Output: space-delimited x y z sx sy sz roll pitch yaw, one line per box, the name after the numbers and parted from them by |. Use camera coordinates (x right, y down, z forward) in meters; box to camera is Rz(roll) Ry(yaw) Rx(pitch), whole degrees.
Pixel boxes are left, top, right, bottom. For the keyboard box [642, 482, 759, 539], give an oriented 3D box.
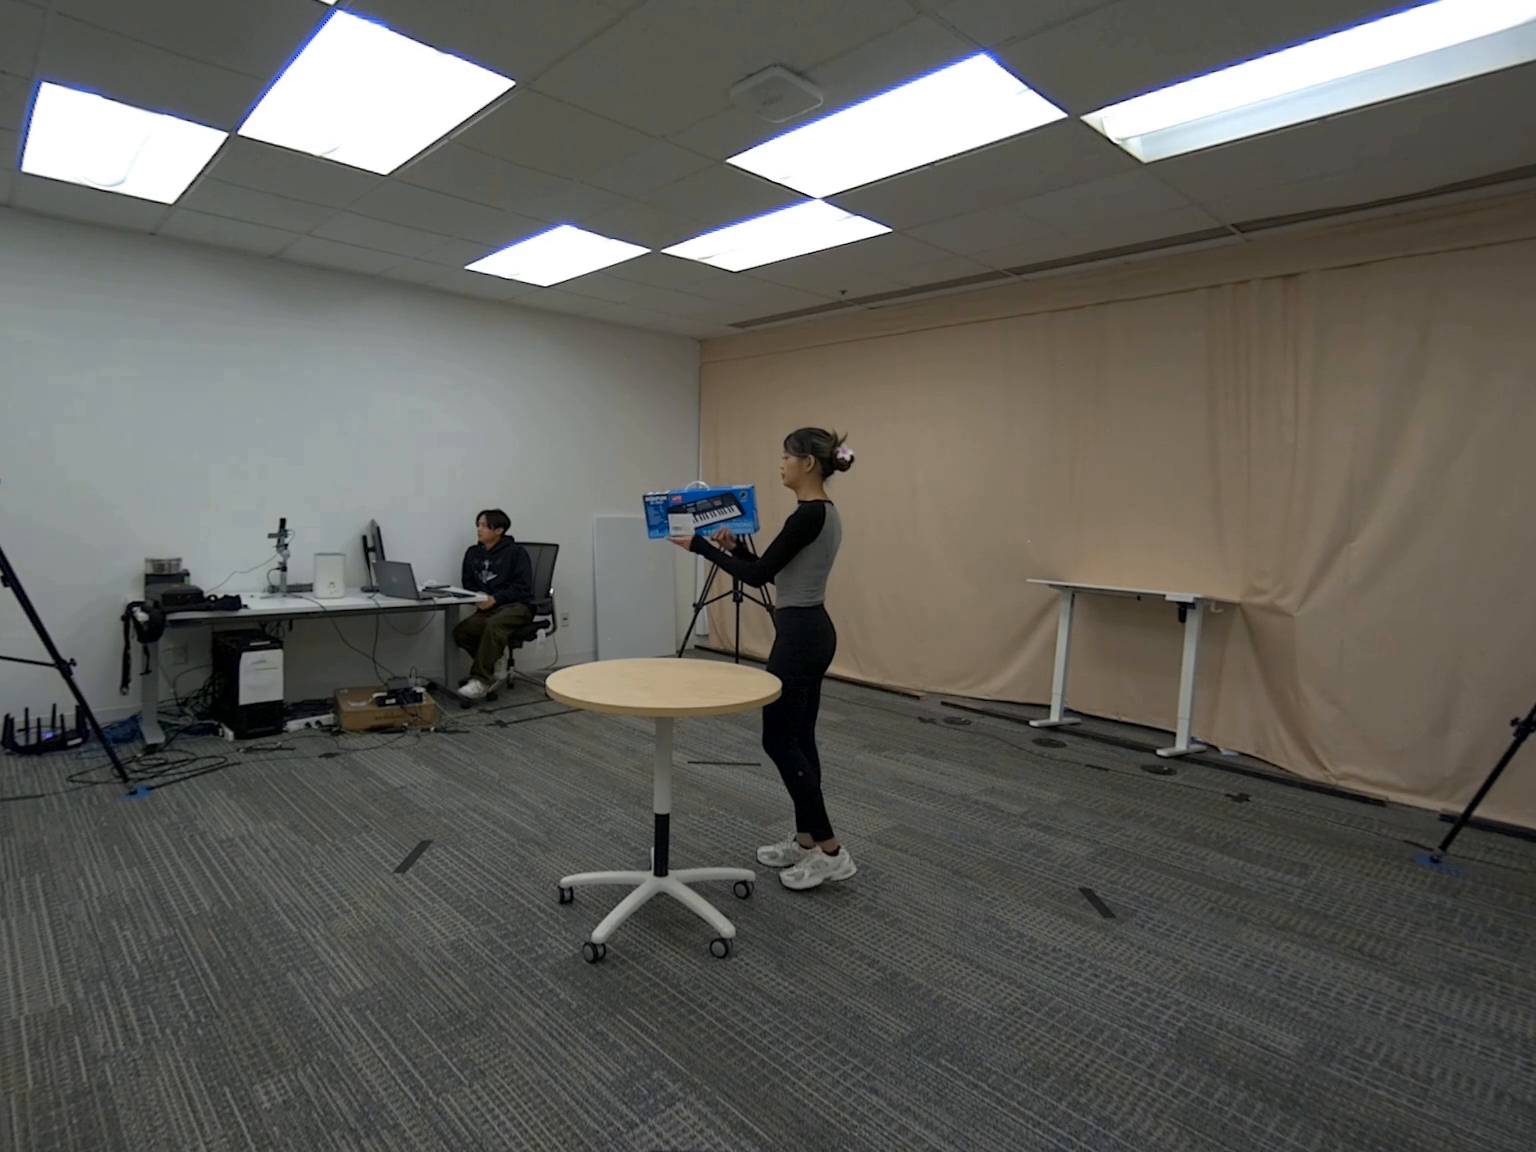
-0.256 -0.235 3.159 0.444 0.174 0.059 -2 11 22 | keyboard box
